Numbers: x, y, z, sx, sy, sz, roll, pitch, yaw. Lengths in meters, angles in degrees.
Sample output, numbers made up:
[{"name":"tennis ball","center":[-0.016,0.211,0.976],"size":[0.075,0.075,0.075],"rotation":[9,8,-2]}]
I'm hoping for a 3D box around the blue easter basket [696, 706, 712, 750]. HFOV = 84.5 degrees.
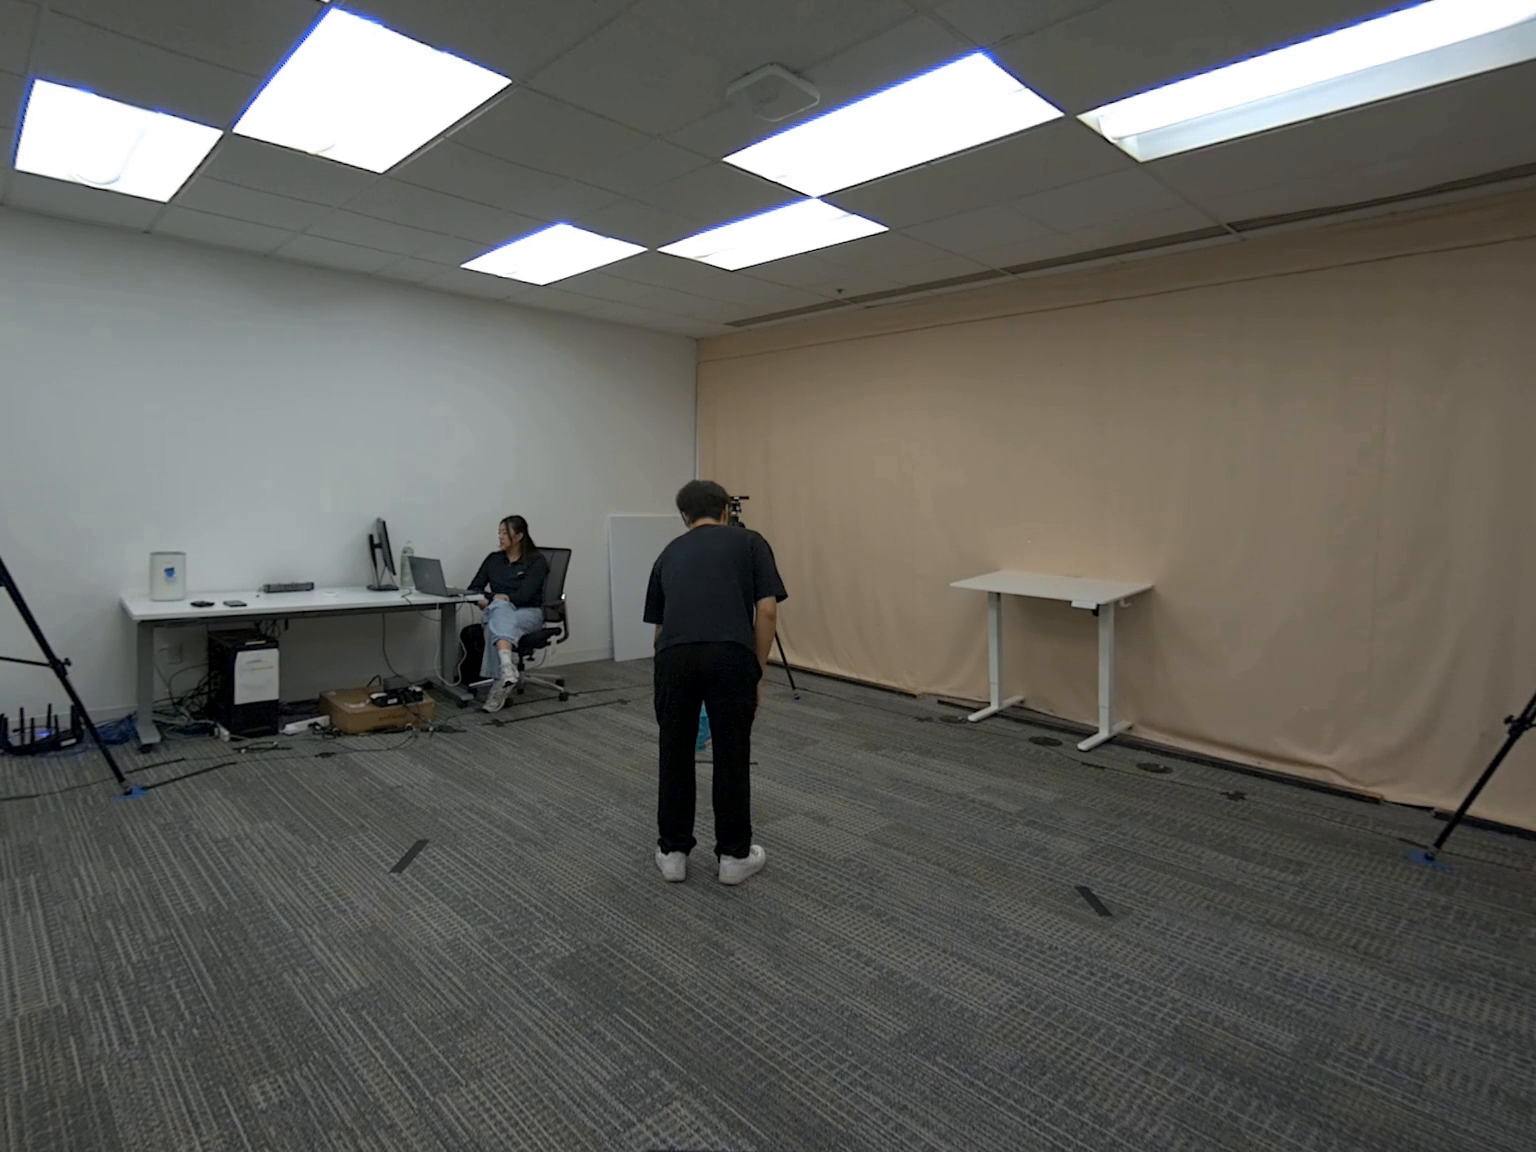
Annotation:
[{"name":"blue easter basket","center":[-0.343,0.631,3.454],"size":[0.243,0.156,0.244],"rotation":[4,2,-1]}]
